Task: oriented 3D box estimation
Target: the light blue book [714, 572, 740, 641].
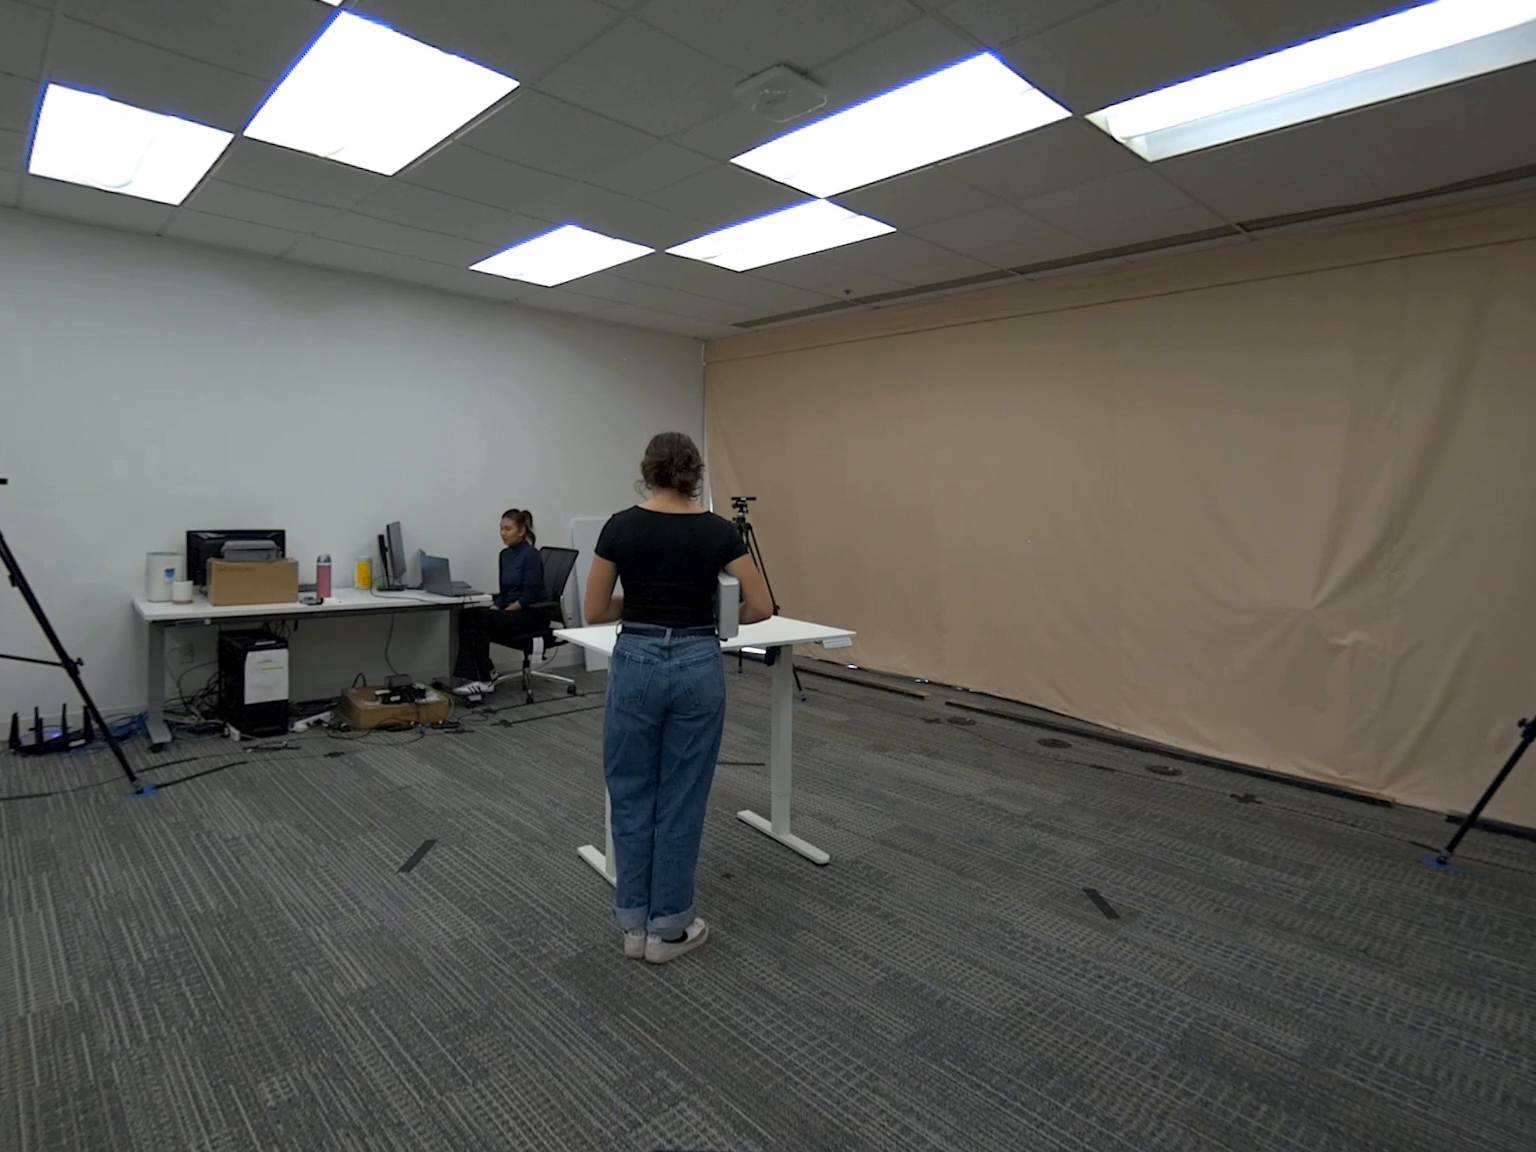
[{"bbox_3d":[-0.157,0.048,2.619,0.058,0.188,0.267,-5,26,-13],"label":"light blue book"}]
